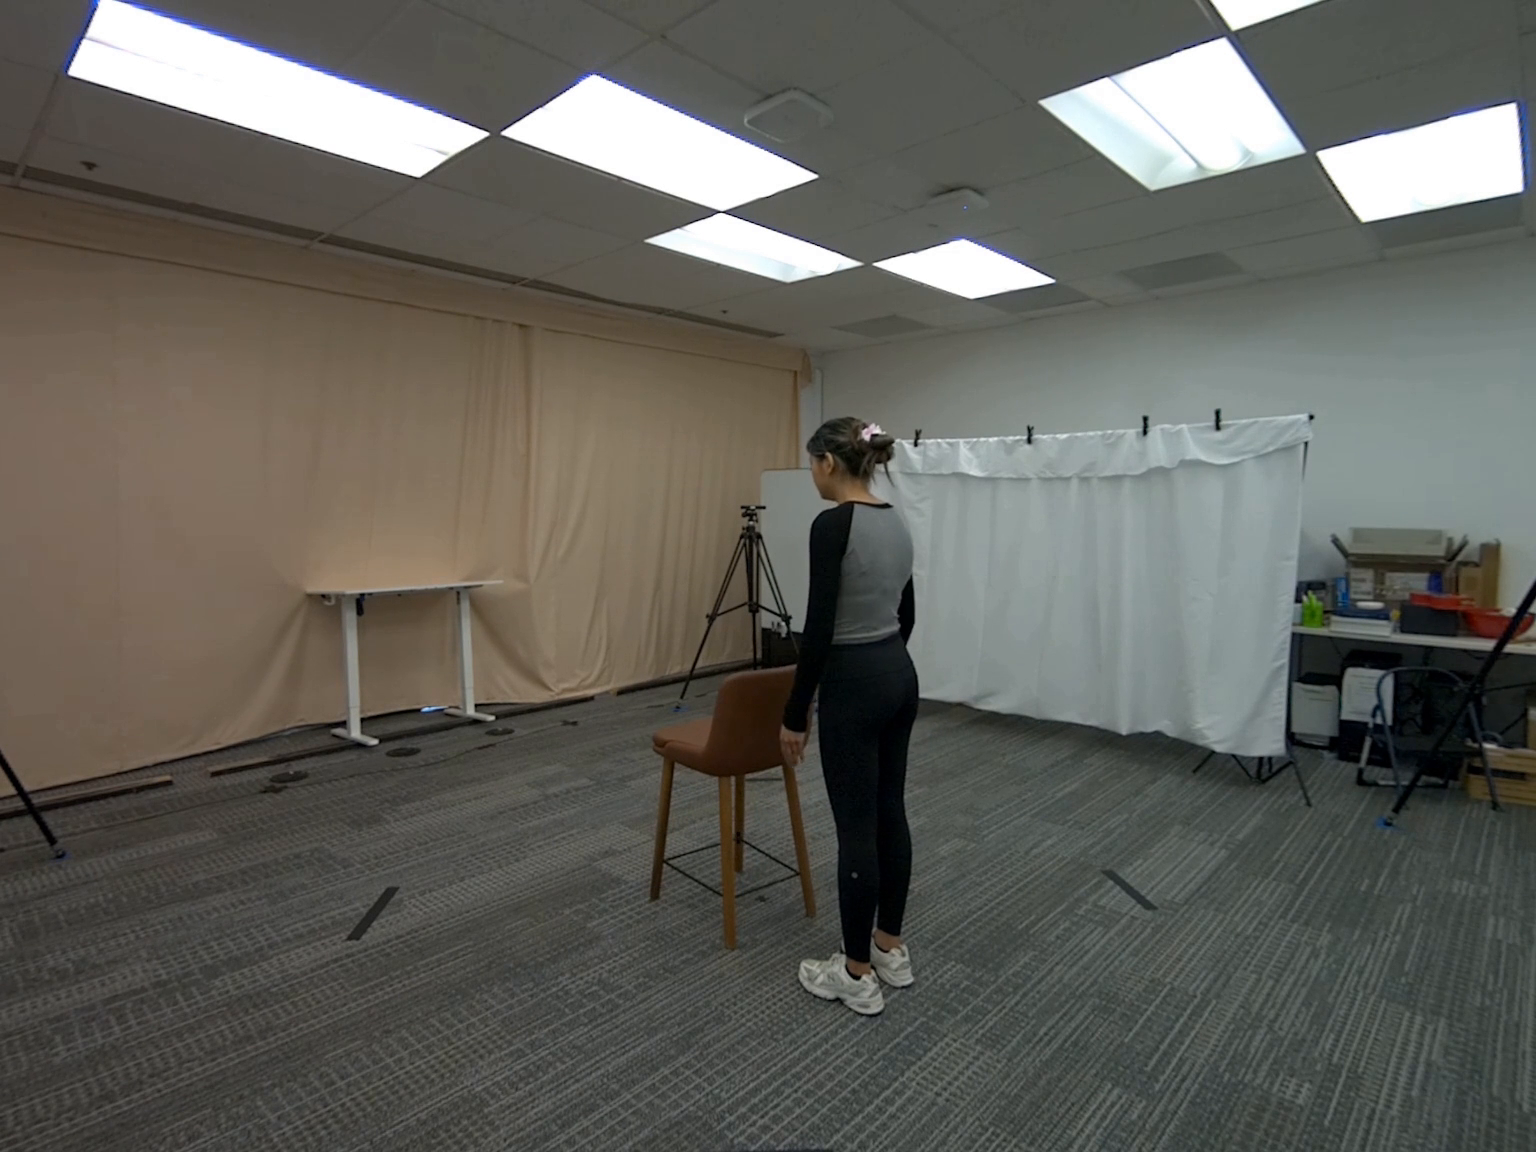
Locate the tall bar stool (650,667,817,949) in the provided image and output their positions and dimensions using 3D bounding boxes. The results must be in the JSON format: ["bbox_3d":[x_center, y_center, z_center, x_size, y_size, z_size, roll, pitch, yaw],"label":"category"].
[{"bbox_3d":[-0.118,0.712,2.893,0.443,0.887,0.483,-3,7,-38],"label":"tall bar stool"}]
